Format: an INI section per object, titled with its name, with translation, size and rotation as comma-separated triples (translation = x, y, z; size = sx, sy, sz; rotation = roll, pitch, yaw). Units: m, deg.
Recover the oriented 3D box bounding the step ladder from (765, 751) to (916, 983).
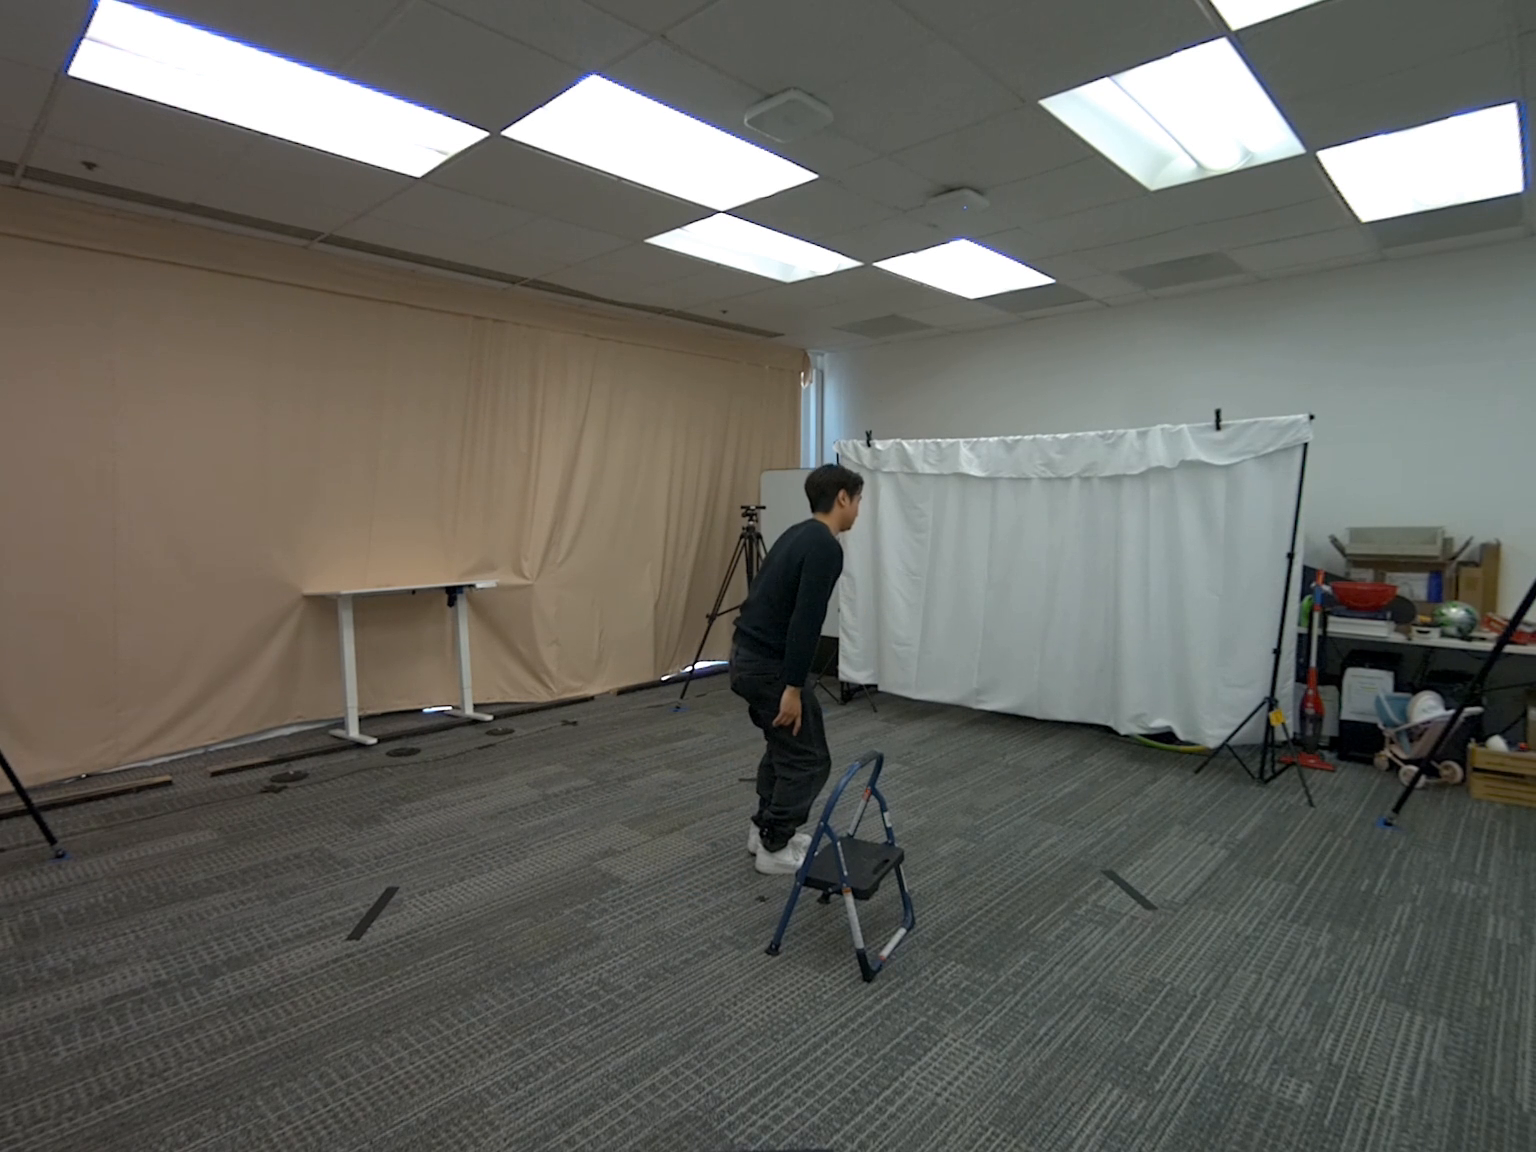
[step ladder]
translation = 0.246, 0.864, 2.695
size = 0.359, 0.604, 0.419
rotation = 2, 5, 29
